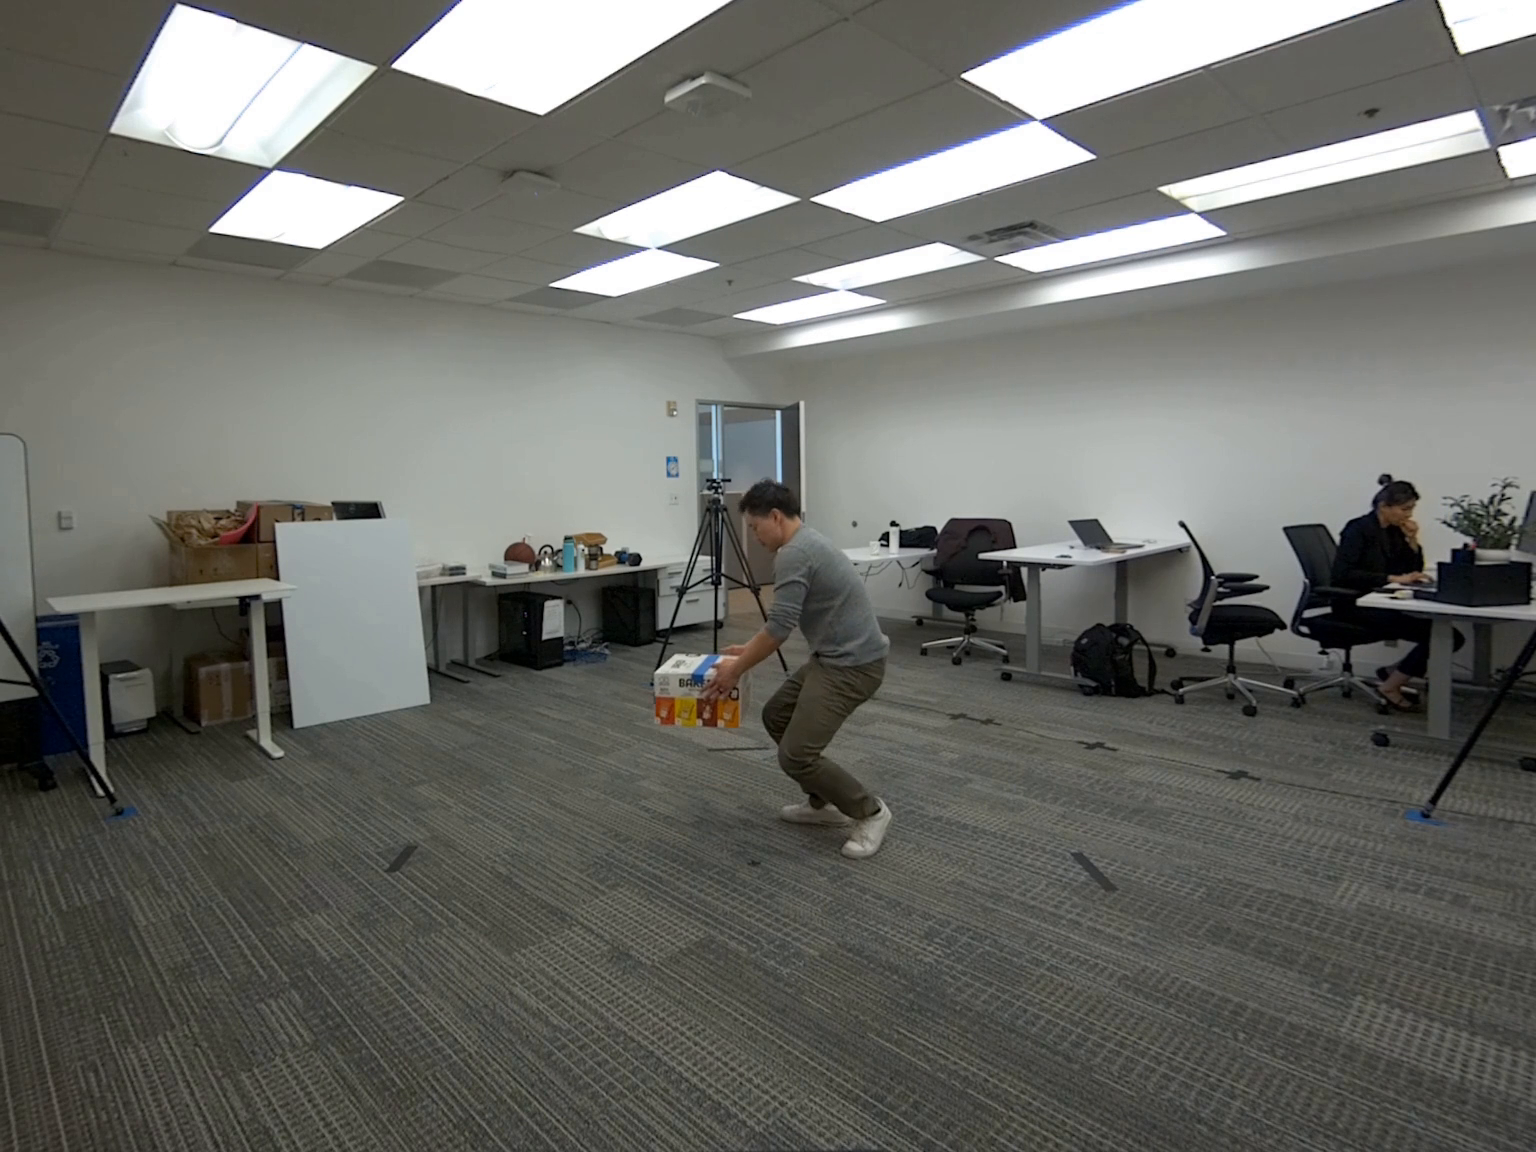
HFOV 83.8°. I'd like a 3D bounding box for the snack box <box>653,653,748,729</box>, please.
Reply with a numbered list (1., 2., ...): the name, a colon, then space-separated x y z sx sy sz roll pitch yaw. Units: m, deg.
1. snack box: -0.256 0.464 3.500 0.343 0.205 0.403 1 5 8
